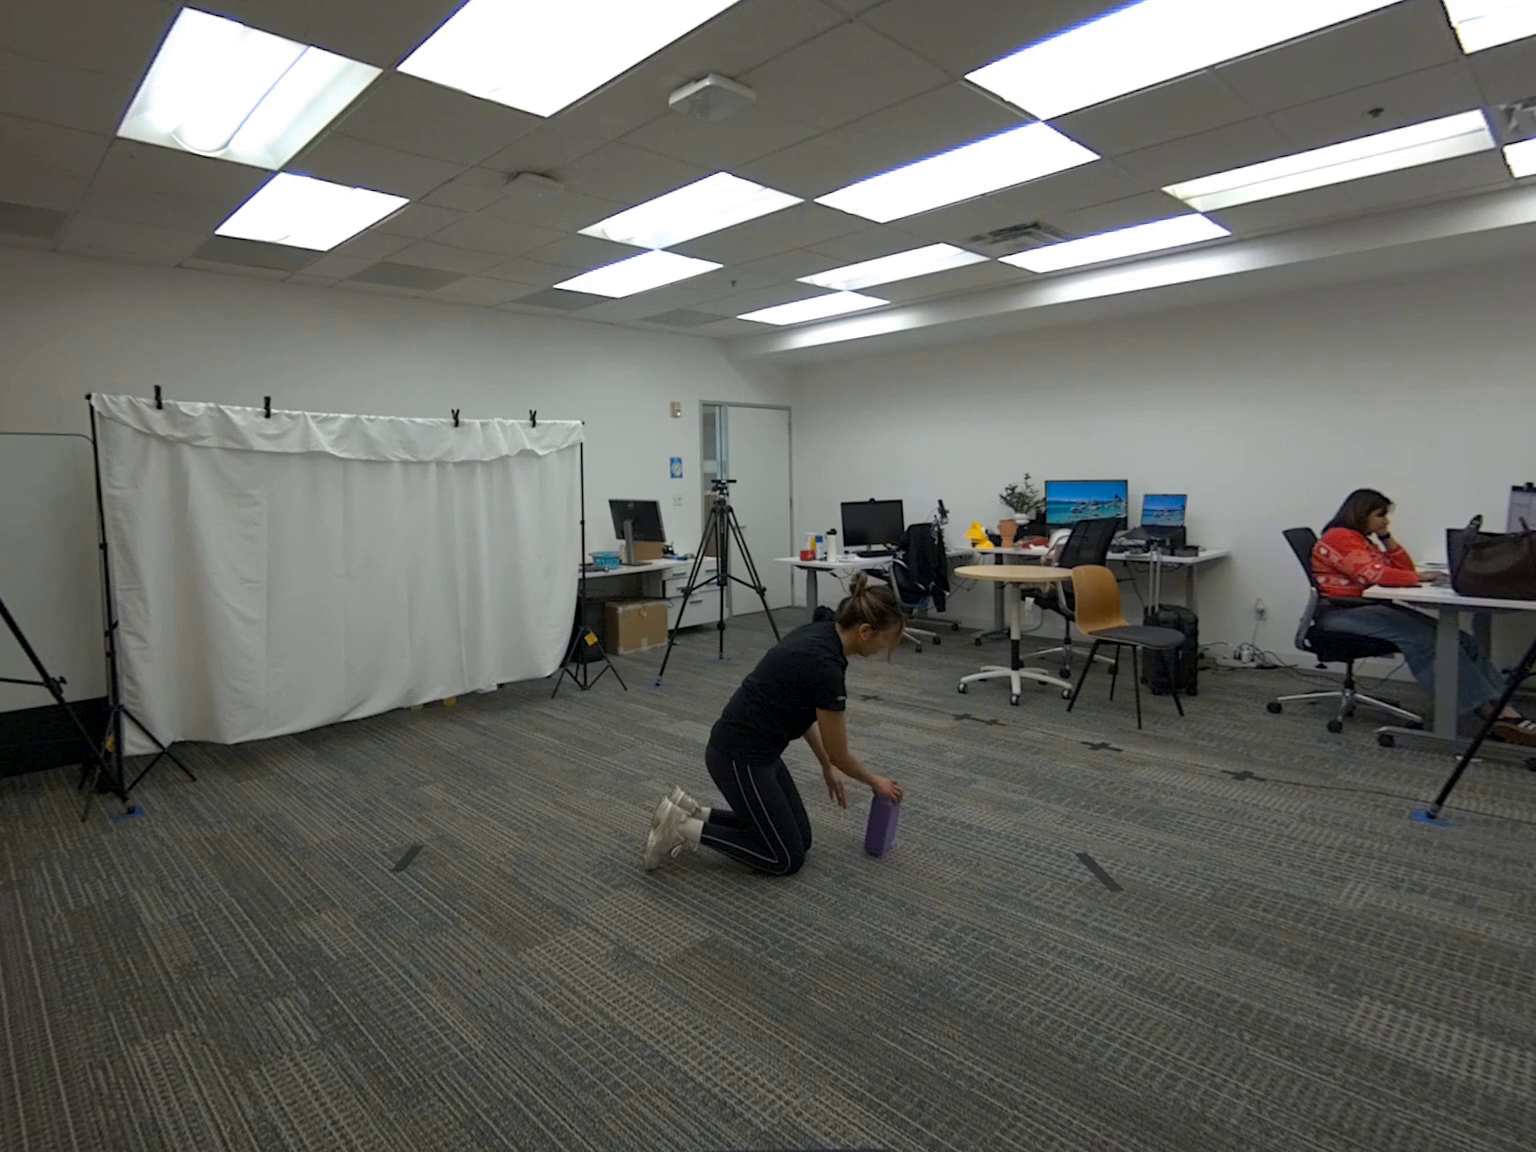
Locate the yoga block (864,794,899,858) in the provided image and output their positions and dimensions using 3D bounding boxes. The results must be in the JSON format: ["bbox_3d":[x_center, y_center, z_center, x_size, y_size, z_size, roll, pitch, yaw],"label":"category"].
[{"bbox_3d":[0.431,0.906,3.180,0.078,0.227,0.147,13,15,23],"label":"yoga block"}]
